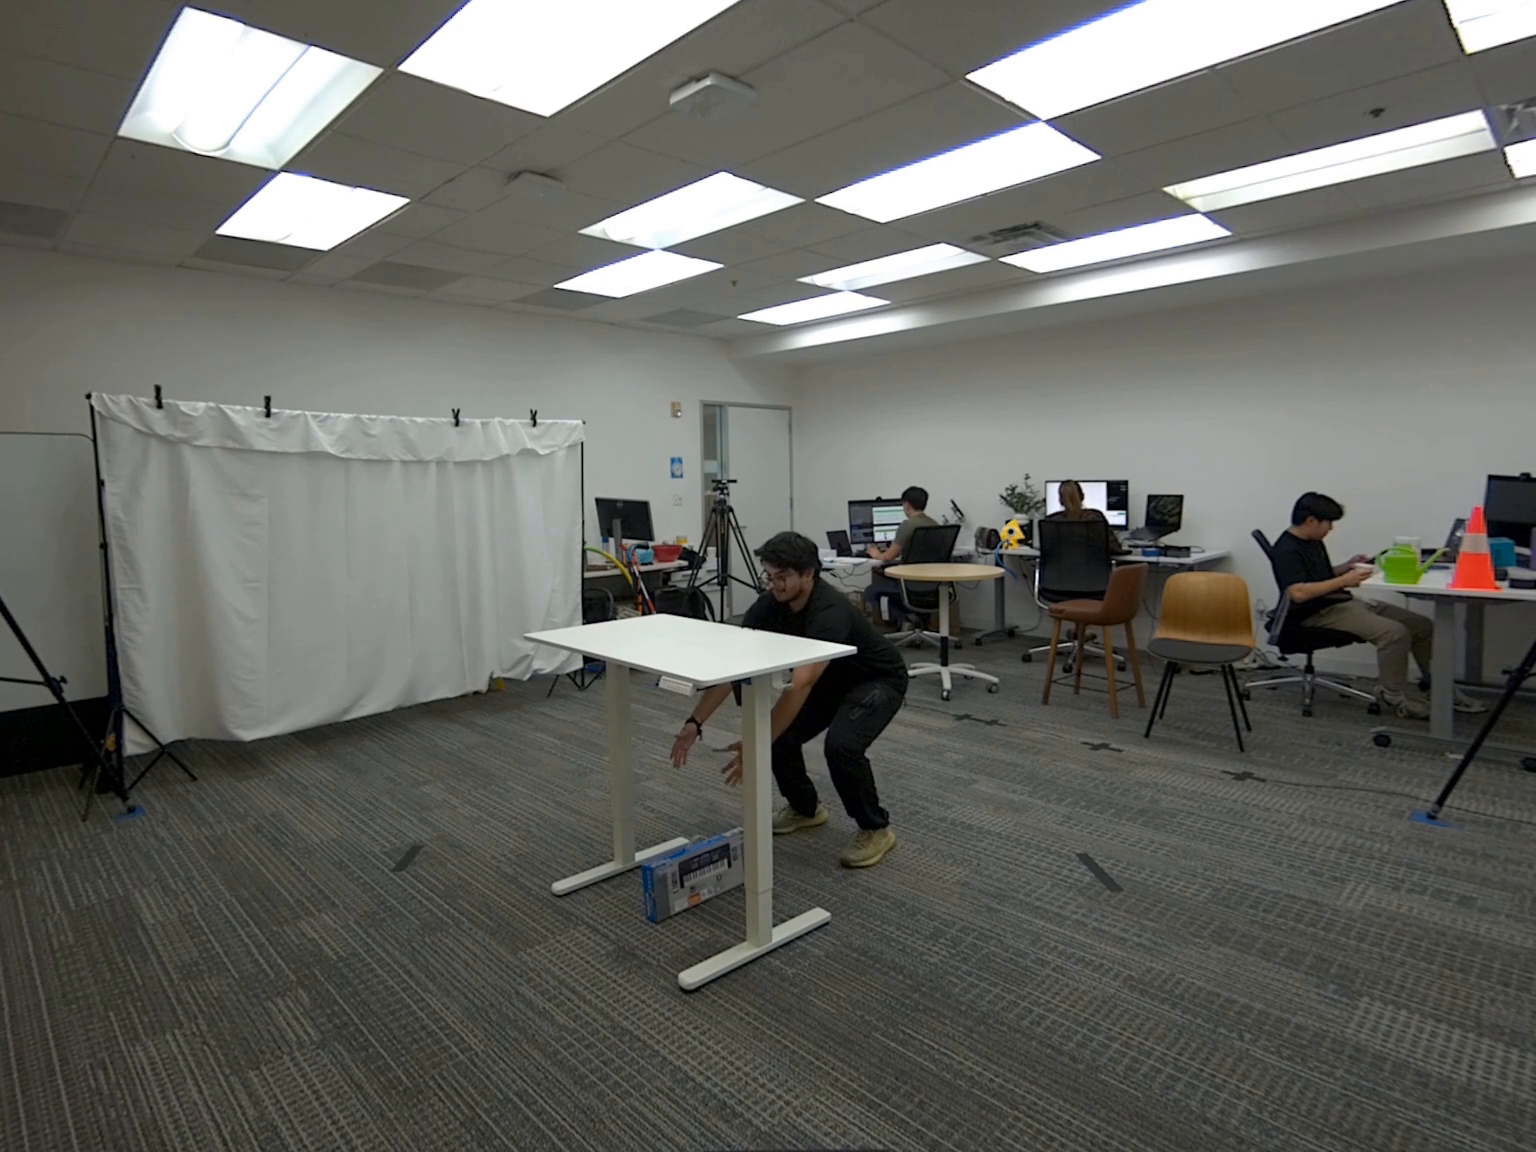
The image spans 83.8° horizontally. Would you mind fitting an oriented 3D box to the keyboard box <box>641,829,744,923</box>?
[{"bbox_3d":[-0.222,0.992,2.862,0.425,0.176,0.060,-6,0,-43],"label":"keyboard box"}]
